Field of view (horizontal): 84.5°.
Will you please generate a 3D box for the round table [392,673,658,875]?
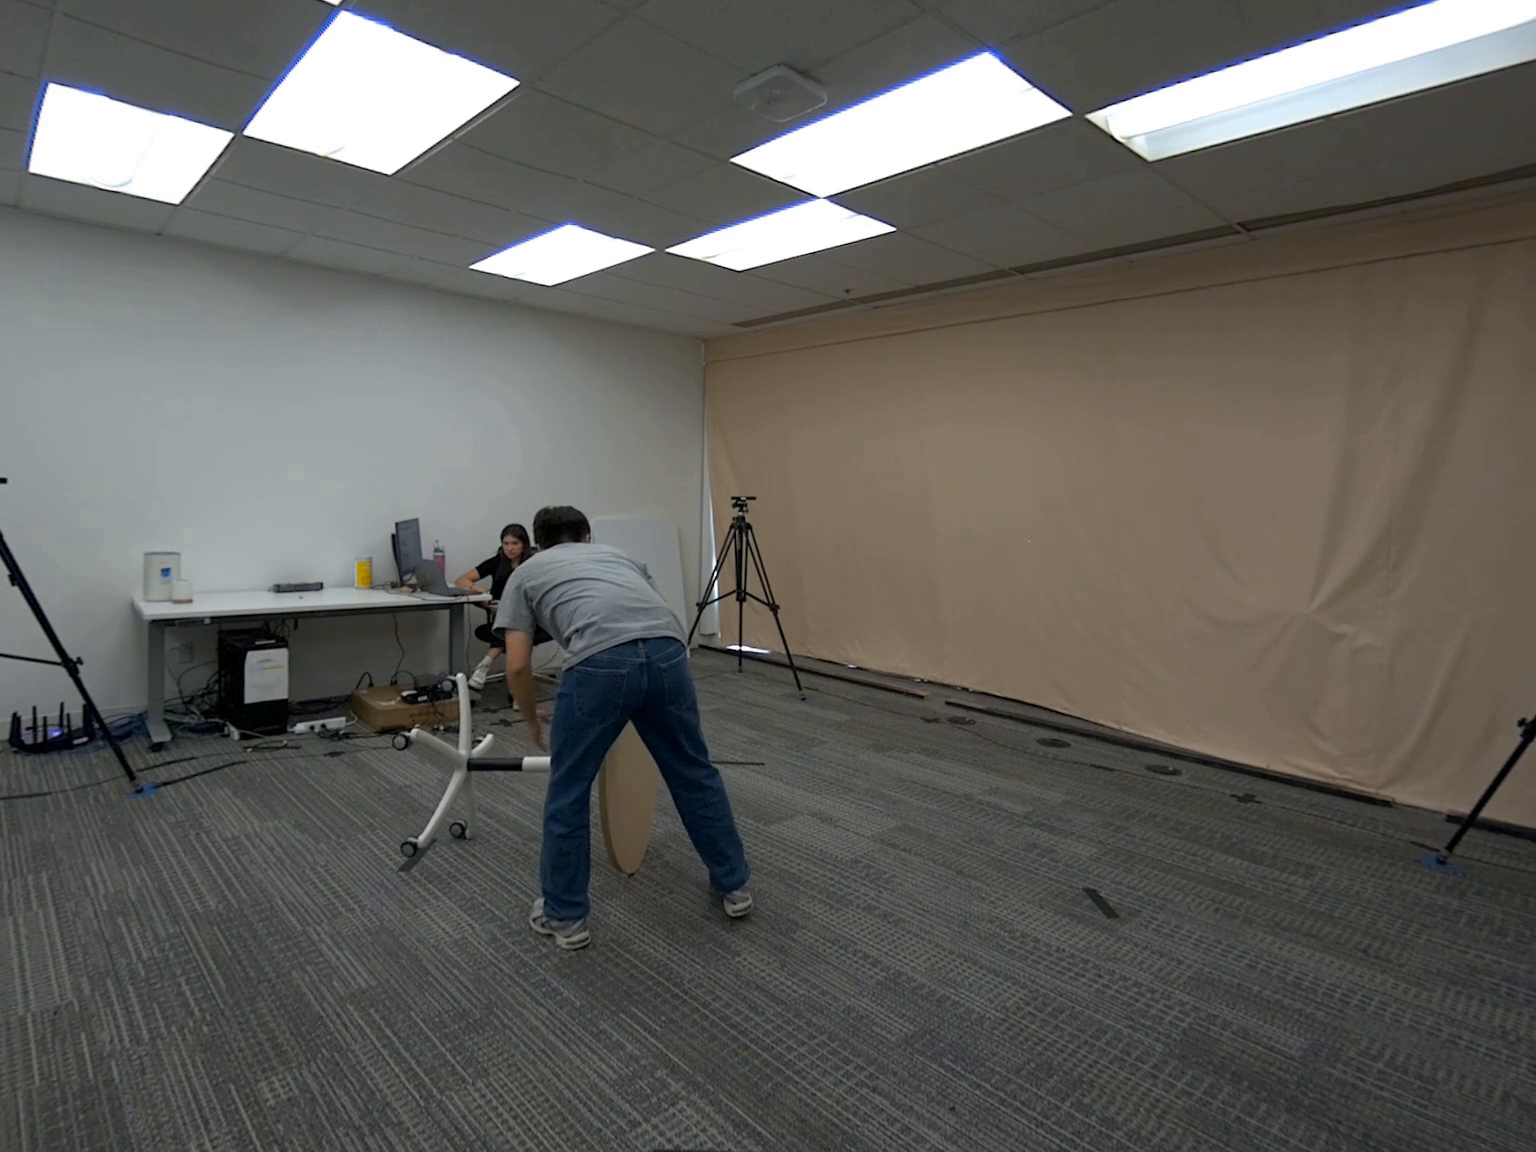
[{"bbox_3d":[-0.903,0.725,3.223,0.798,0.762,0.762,-2,4,6],"label":"round table"}]
